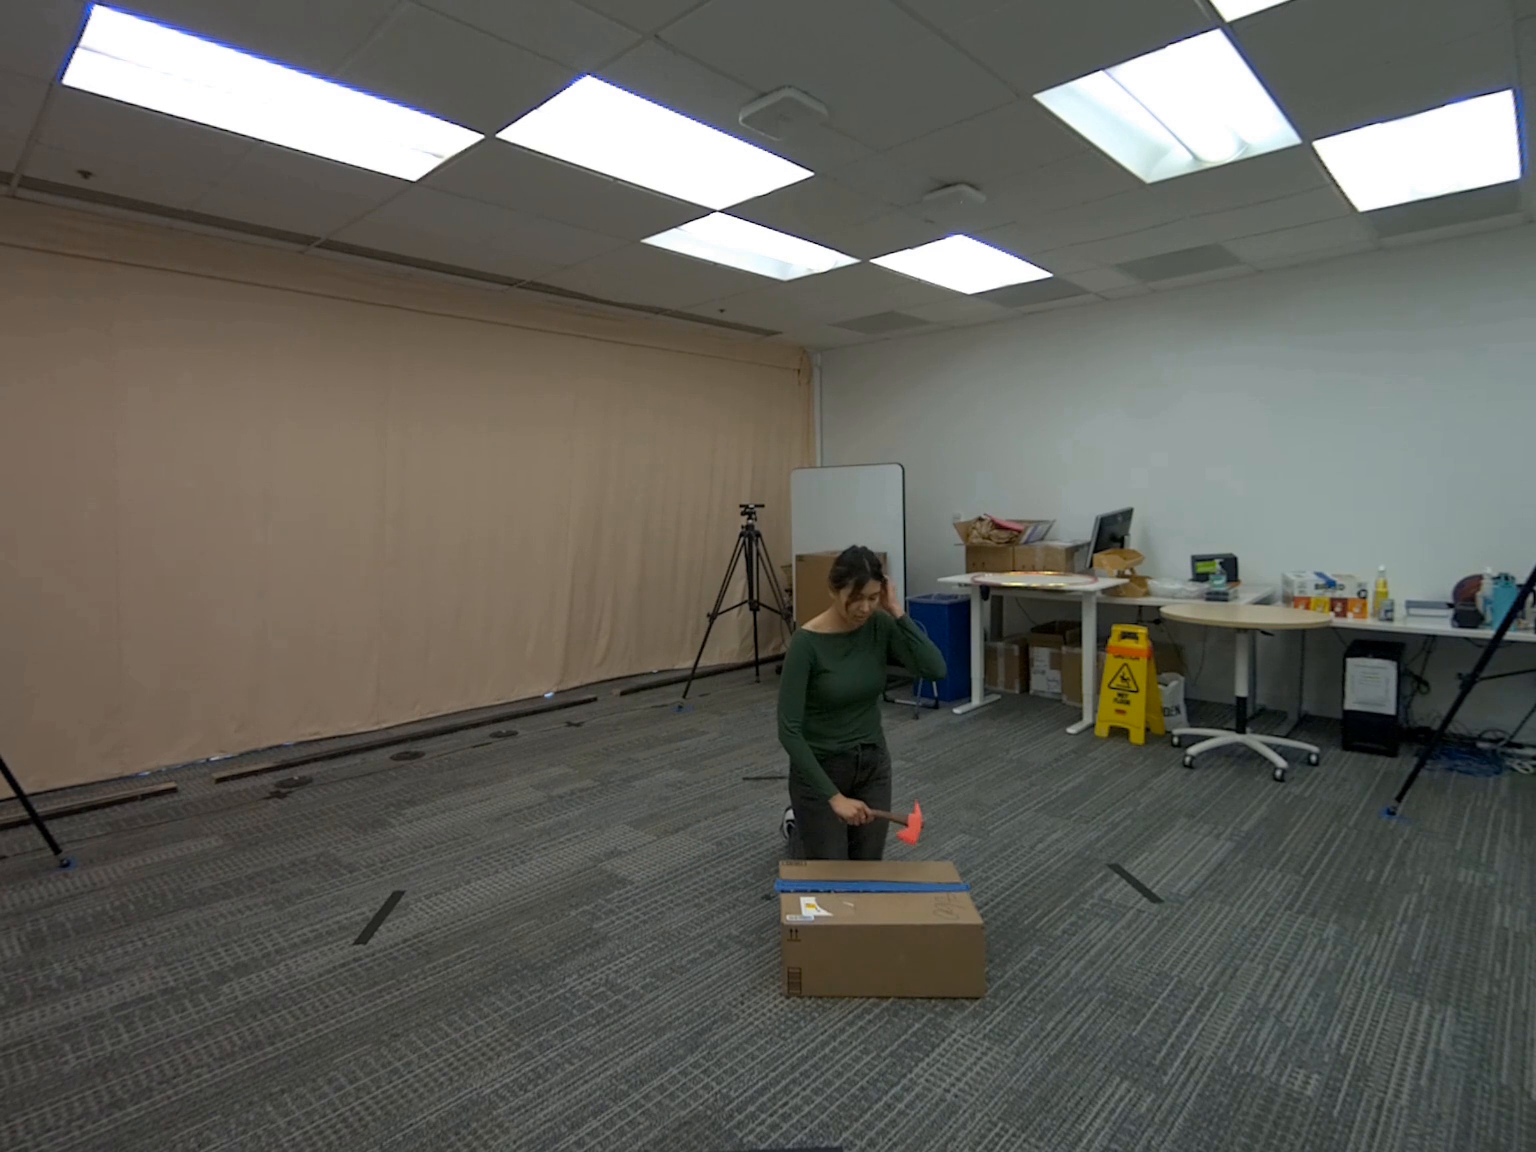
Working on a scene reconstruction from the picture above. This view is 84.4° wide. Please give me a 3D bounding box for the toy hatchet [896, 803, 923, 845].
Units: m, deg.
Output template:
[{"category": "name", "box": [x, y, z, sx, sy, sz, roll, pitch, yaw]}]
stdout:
[{"category": "toy hatchet", "box": [0.330, 0.783, 2.658, 0.272, 0.133, 0.029, 2, -32, 7]}]
